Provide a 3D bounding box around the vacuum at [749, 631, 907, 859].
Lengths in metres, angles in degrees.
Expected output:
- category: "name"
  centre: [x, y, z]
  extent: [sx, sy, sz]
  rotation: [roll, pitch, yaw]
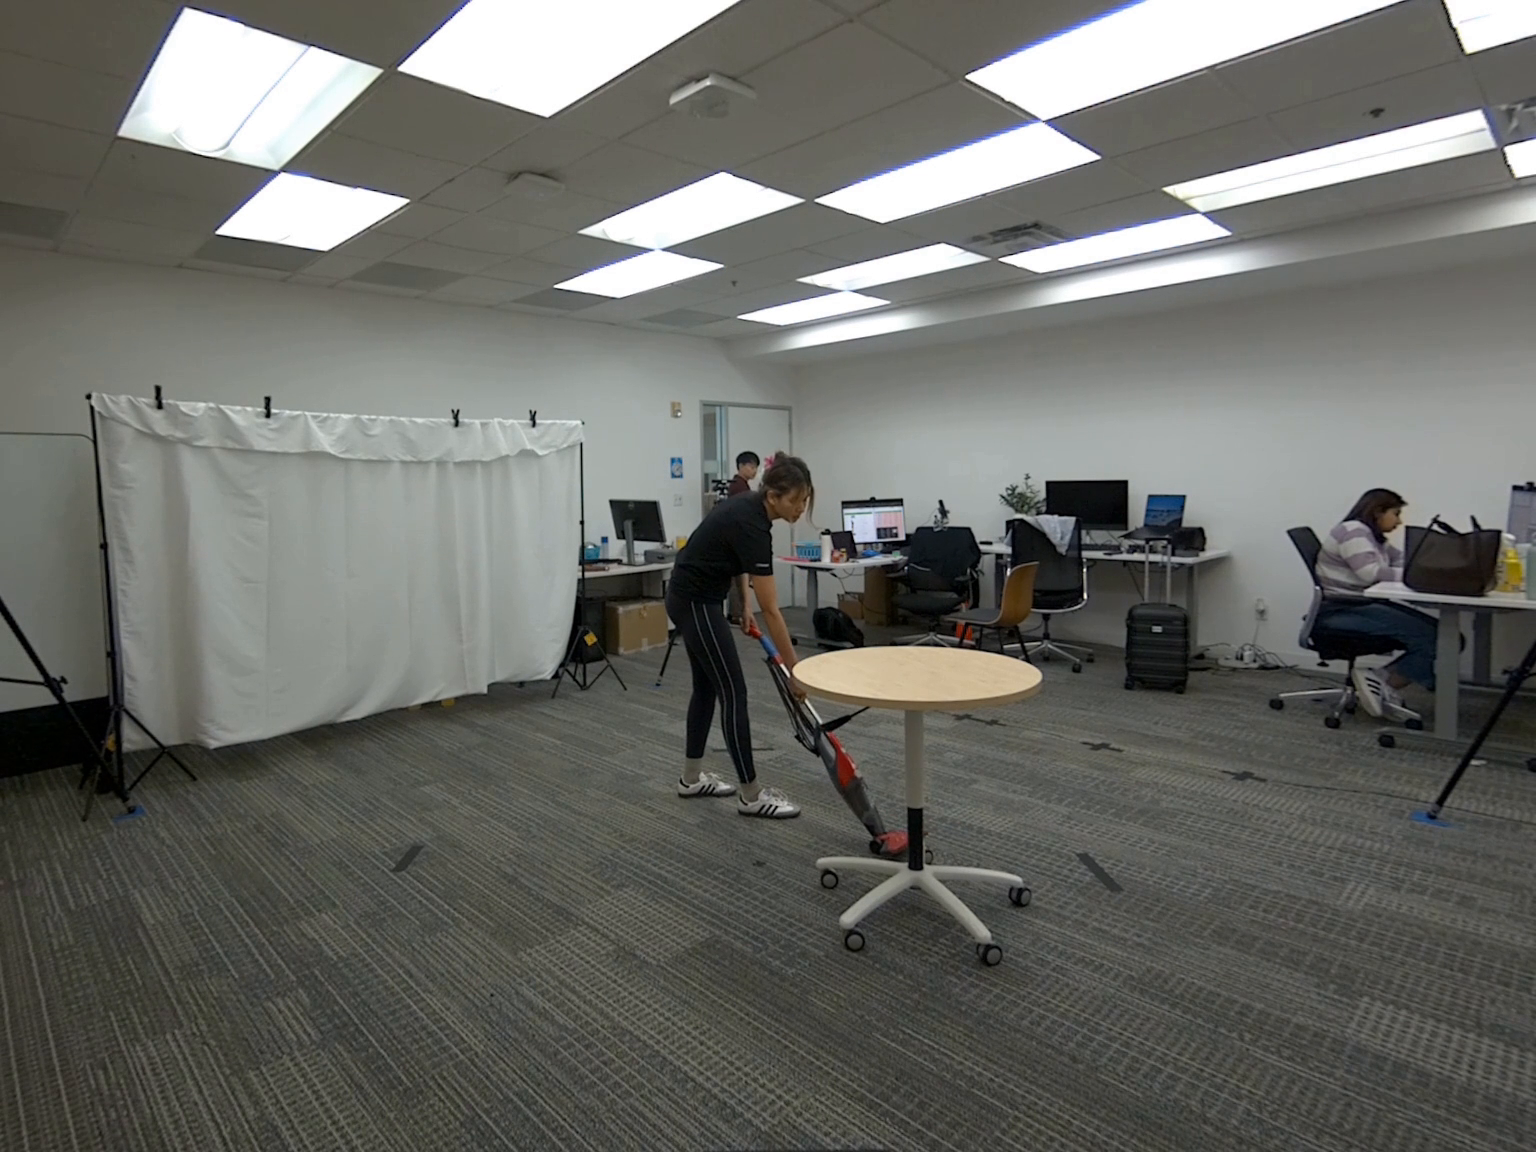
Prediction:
- category: "vacuum"
  centre: [0.186, 0.619, 3.420]
  extent: [0.245, 0.144, 1.083]
  rotation: [4, 42, -54]
